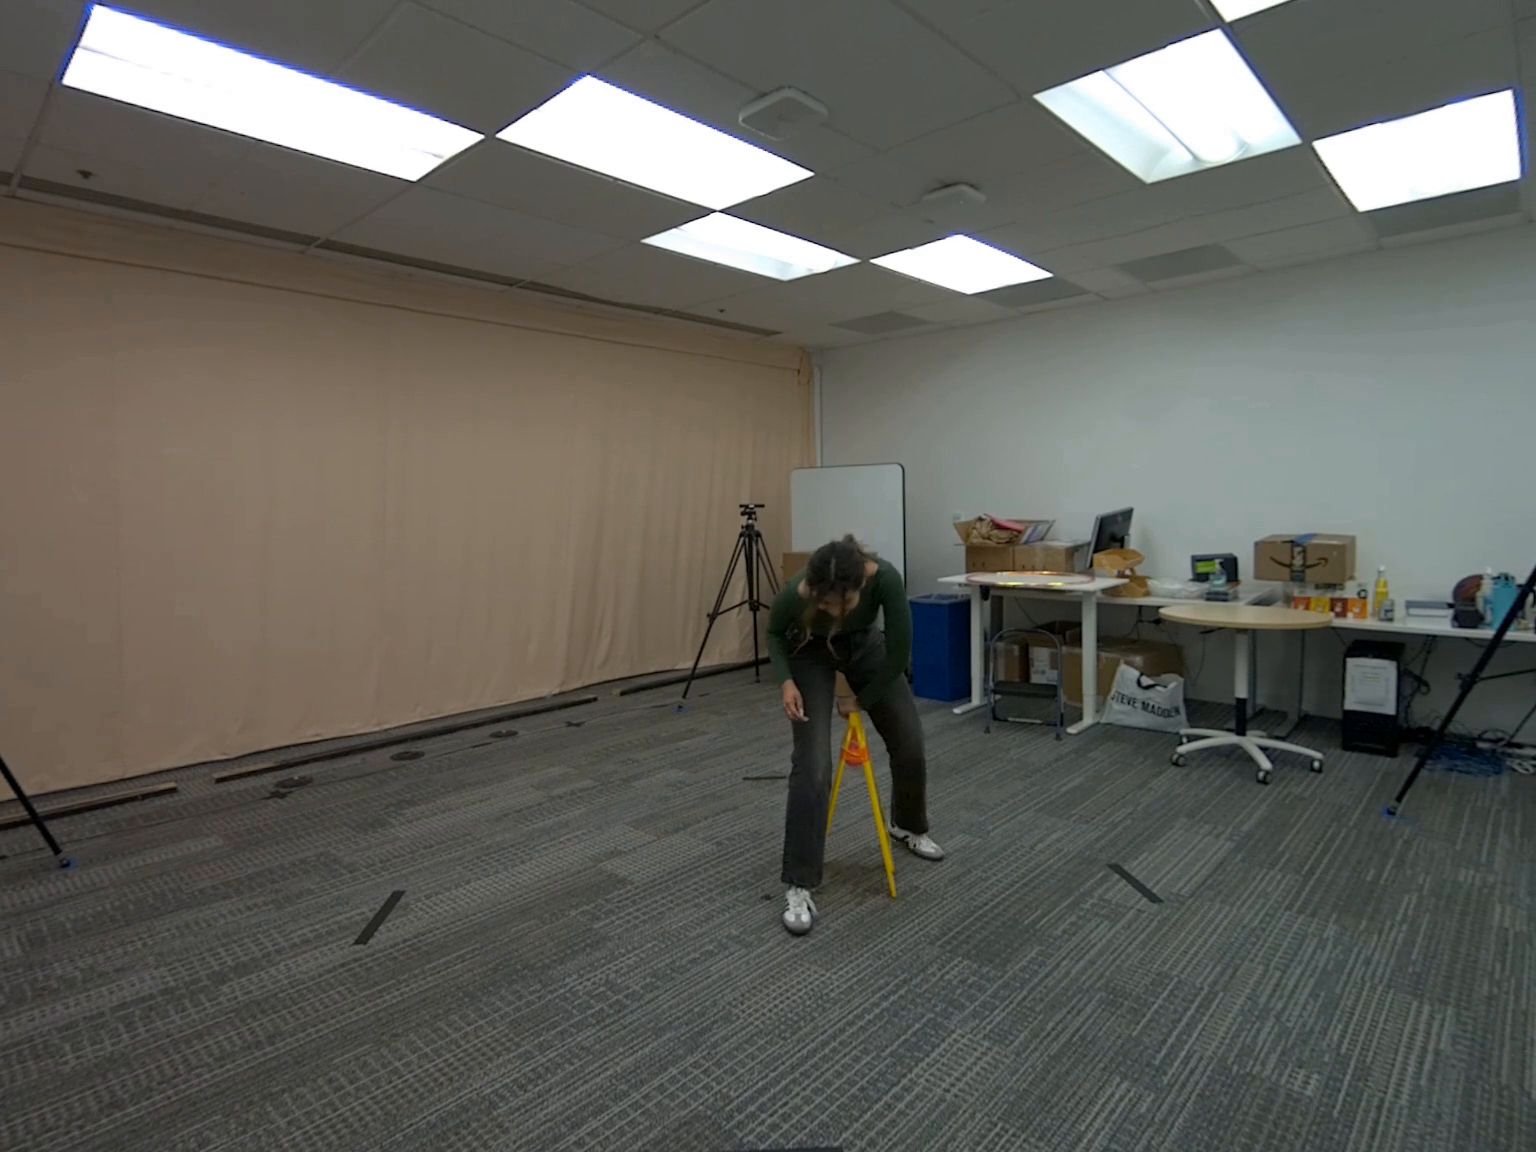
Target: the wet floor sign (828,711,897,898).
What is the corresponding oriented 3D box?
[{"bbox_3d":[0.319,0.800,3.101,0.293,0.645,0.280,0,2,9],"label":"wet floor sign"}]
